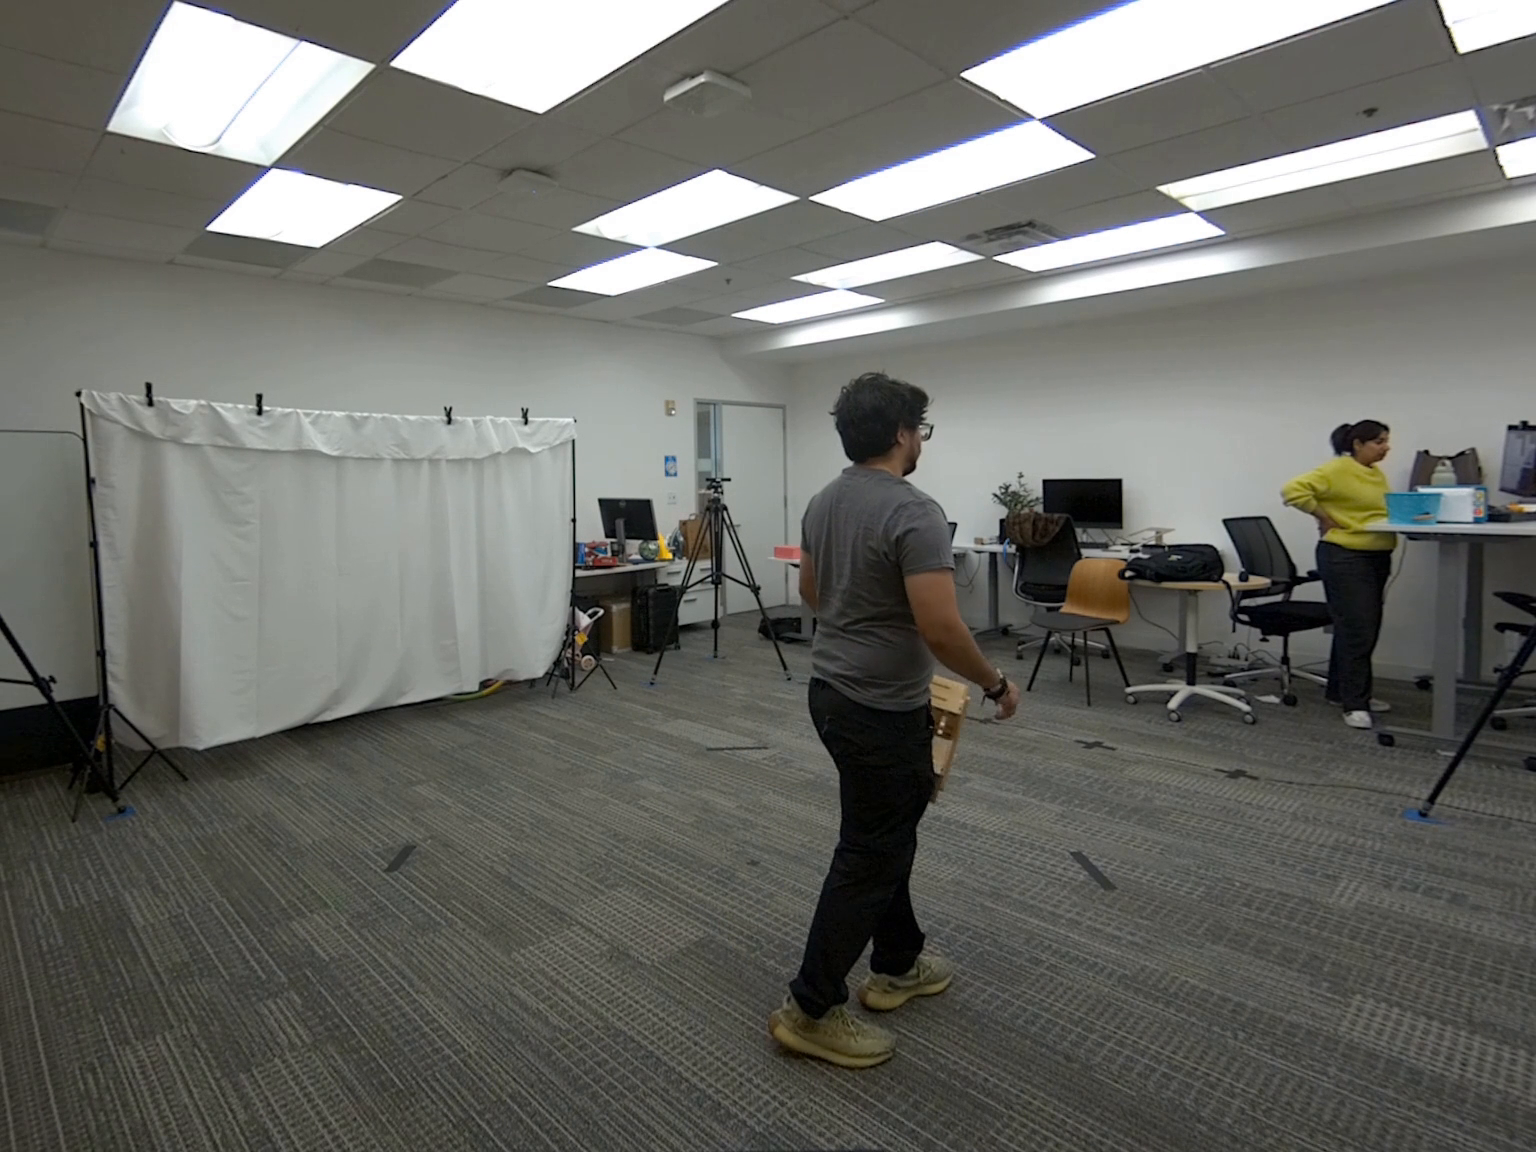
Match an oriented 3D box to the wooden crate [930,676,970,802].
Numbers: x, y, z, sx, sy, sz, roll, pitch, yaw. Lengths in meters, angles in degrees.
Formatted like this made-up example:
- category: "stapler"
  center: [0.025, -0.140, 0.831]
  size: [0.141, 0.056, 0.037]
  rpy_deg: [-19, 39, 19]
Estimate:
- category: "wooden crate"
  center: [0.401, 0.446, 2.531]
  size: [0.330, 0.276, 0.293]
  rpy_deg: [15, -31, 14]
